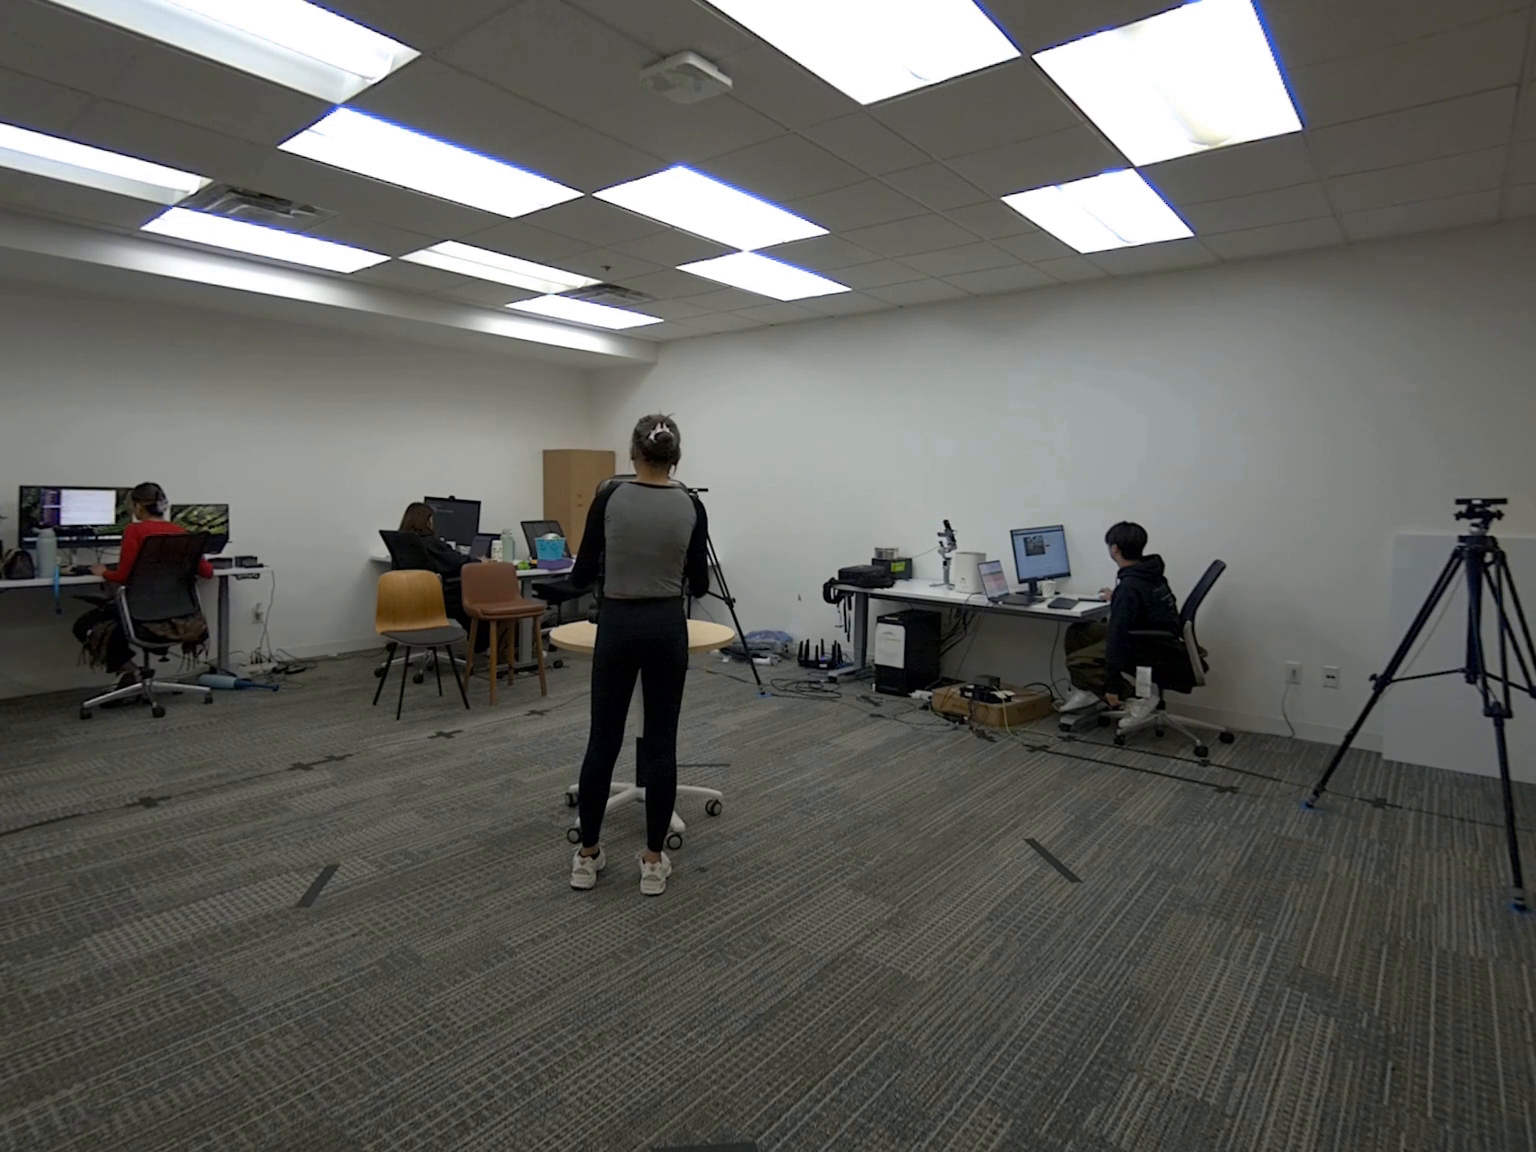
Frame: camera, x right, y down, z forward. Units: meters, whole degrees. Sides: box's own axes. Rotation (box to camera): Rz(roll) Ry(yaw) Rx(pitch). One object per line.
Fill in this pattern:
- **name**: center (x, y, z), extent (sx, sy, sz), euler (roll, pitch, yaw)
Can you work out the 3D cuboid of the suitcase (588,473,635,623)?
- **suitcase**: center (-0.497, -0.115, 3.256), extent (0.371, 0.547, 0.252), euler (2, 6, -10)
